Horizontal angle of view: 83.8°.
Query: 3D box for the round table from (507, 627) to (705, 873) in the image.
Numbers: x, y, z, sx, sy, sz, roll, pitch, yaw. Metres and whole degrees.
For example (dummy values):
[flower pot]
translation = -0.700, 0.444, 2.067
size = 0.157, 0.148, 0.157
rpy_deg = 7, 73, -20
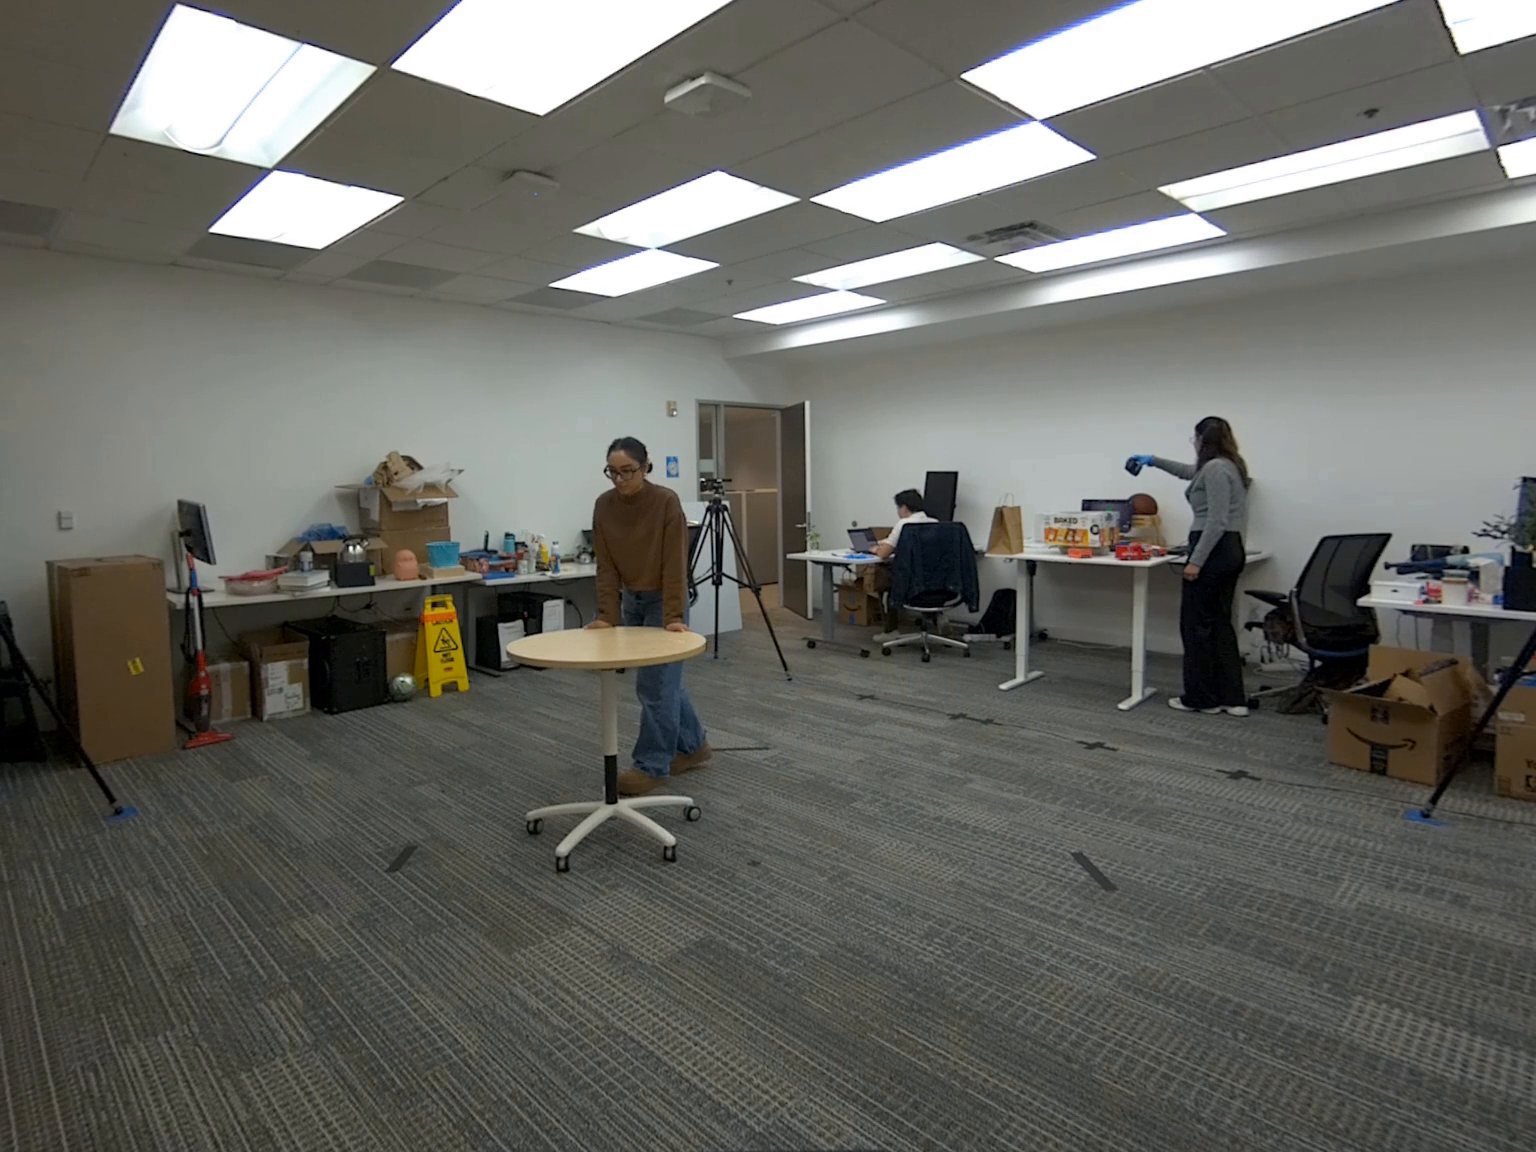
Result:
[round table]
translation = -0.615, 0.647, 3.342
size = 0.763, 0.791, 0.767
rpy_deg = -1, 4, -2
